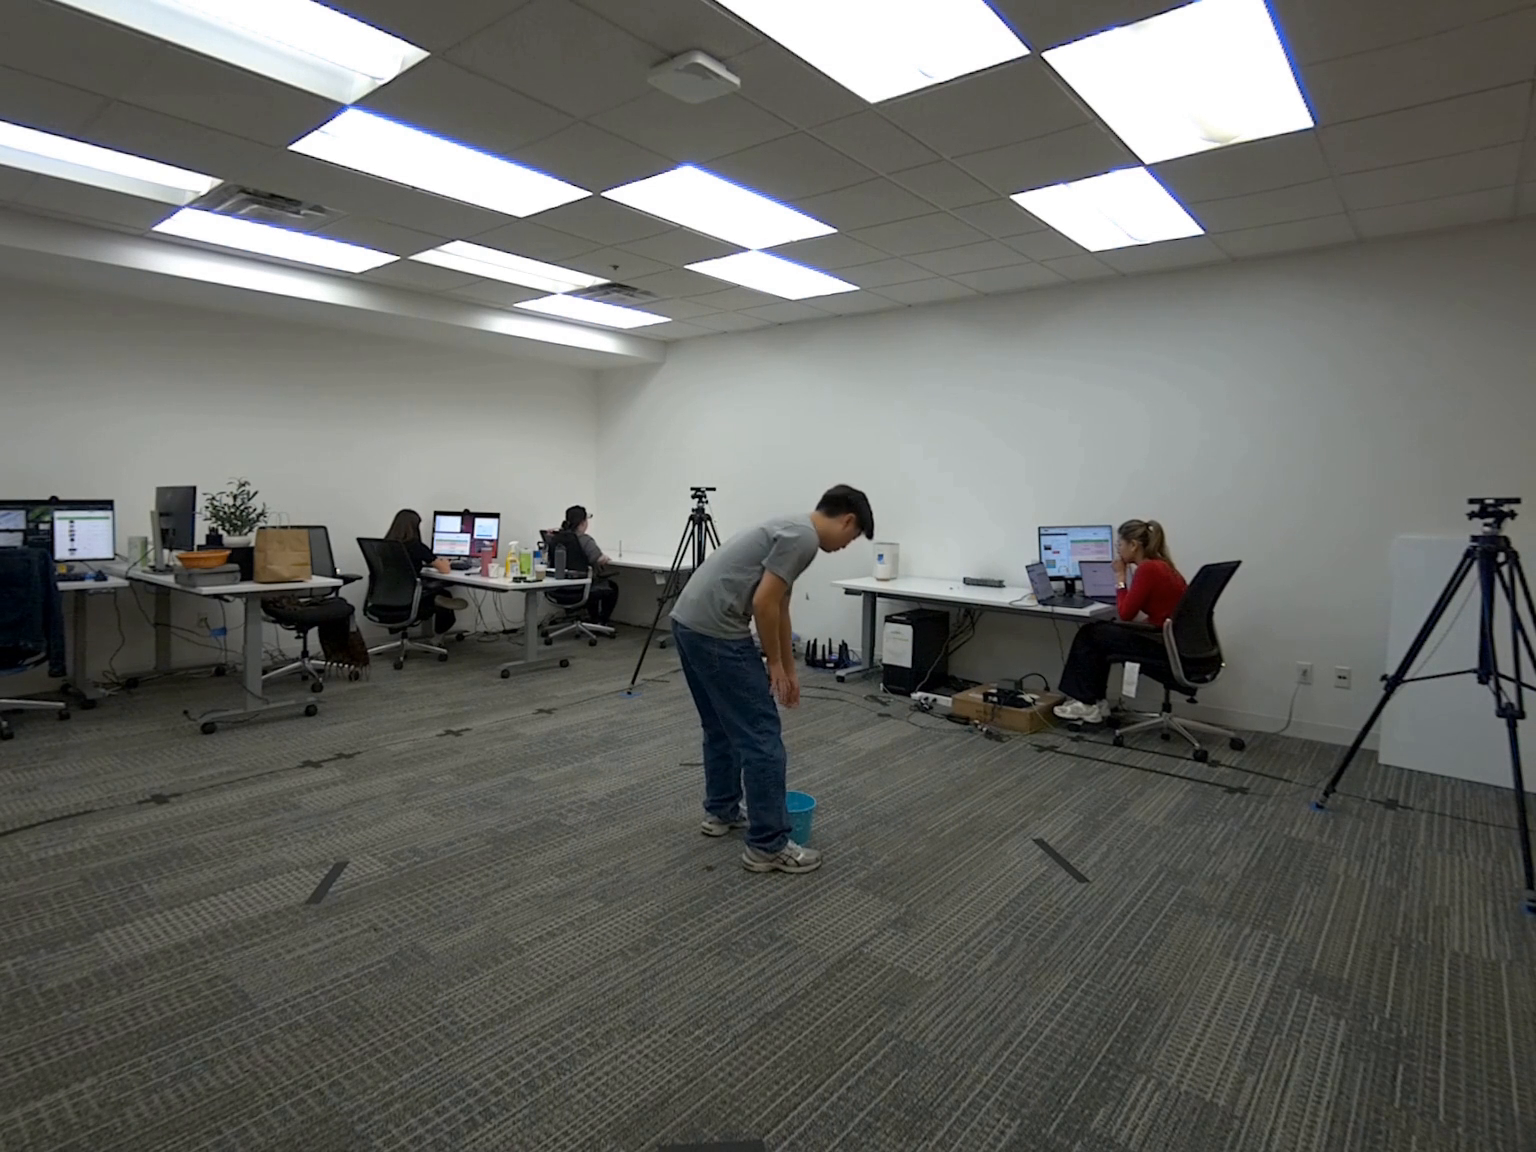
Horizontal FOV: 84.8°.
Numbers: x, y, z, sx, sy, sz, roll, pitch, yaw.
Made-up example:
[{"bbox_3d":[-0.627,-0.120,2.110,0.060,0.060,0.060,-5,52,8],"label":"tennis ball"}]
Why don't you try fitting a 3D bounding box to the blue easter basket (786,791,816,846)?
[{"bbox_3d":[0.073,0.967,3.400,0.243,0.155,0.245,1,5,-2],"label":"blue easter basket"}]
